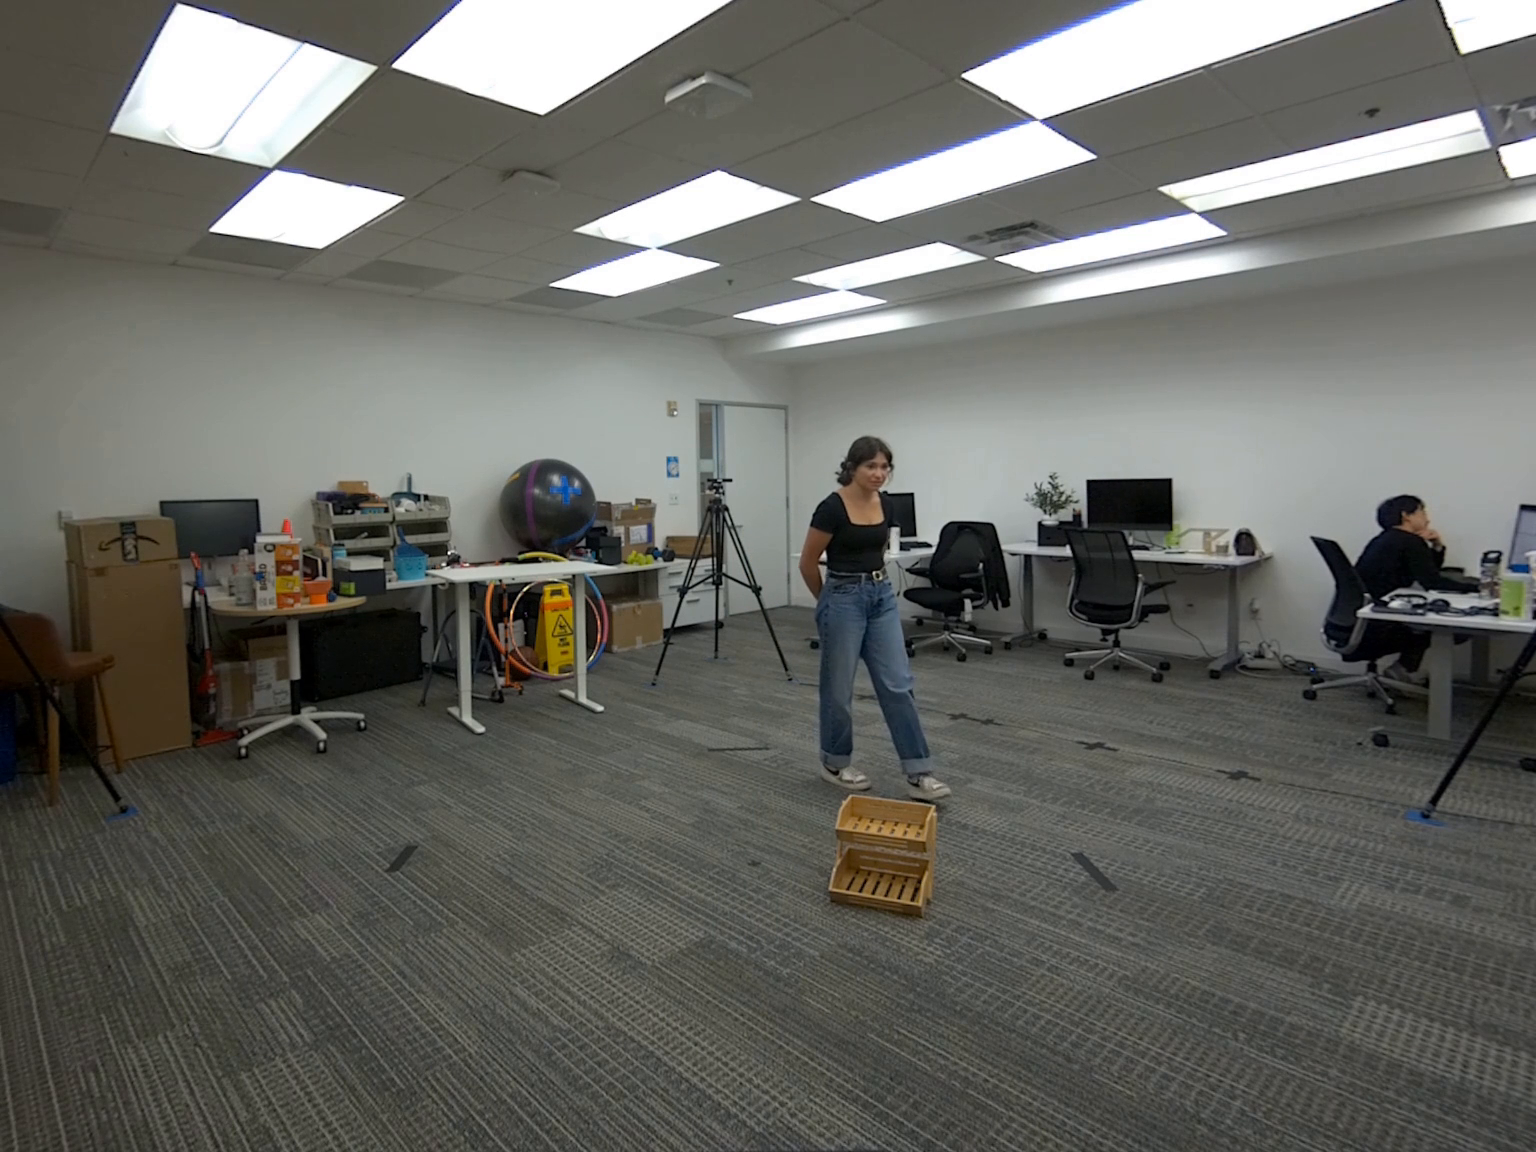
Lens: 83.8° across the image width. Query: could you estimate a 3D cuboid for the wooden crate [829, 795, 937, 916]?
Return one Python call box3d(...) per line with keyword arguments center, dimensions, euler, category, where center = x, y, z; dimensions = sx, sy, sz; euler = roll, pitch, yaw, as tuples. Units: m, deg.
box3d(center=(0.391, 0.932, 2.868), dimensions=(0.331, 0.272, 0.297), euler=(1, 5, 21), category="wooden crate")
